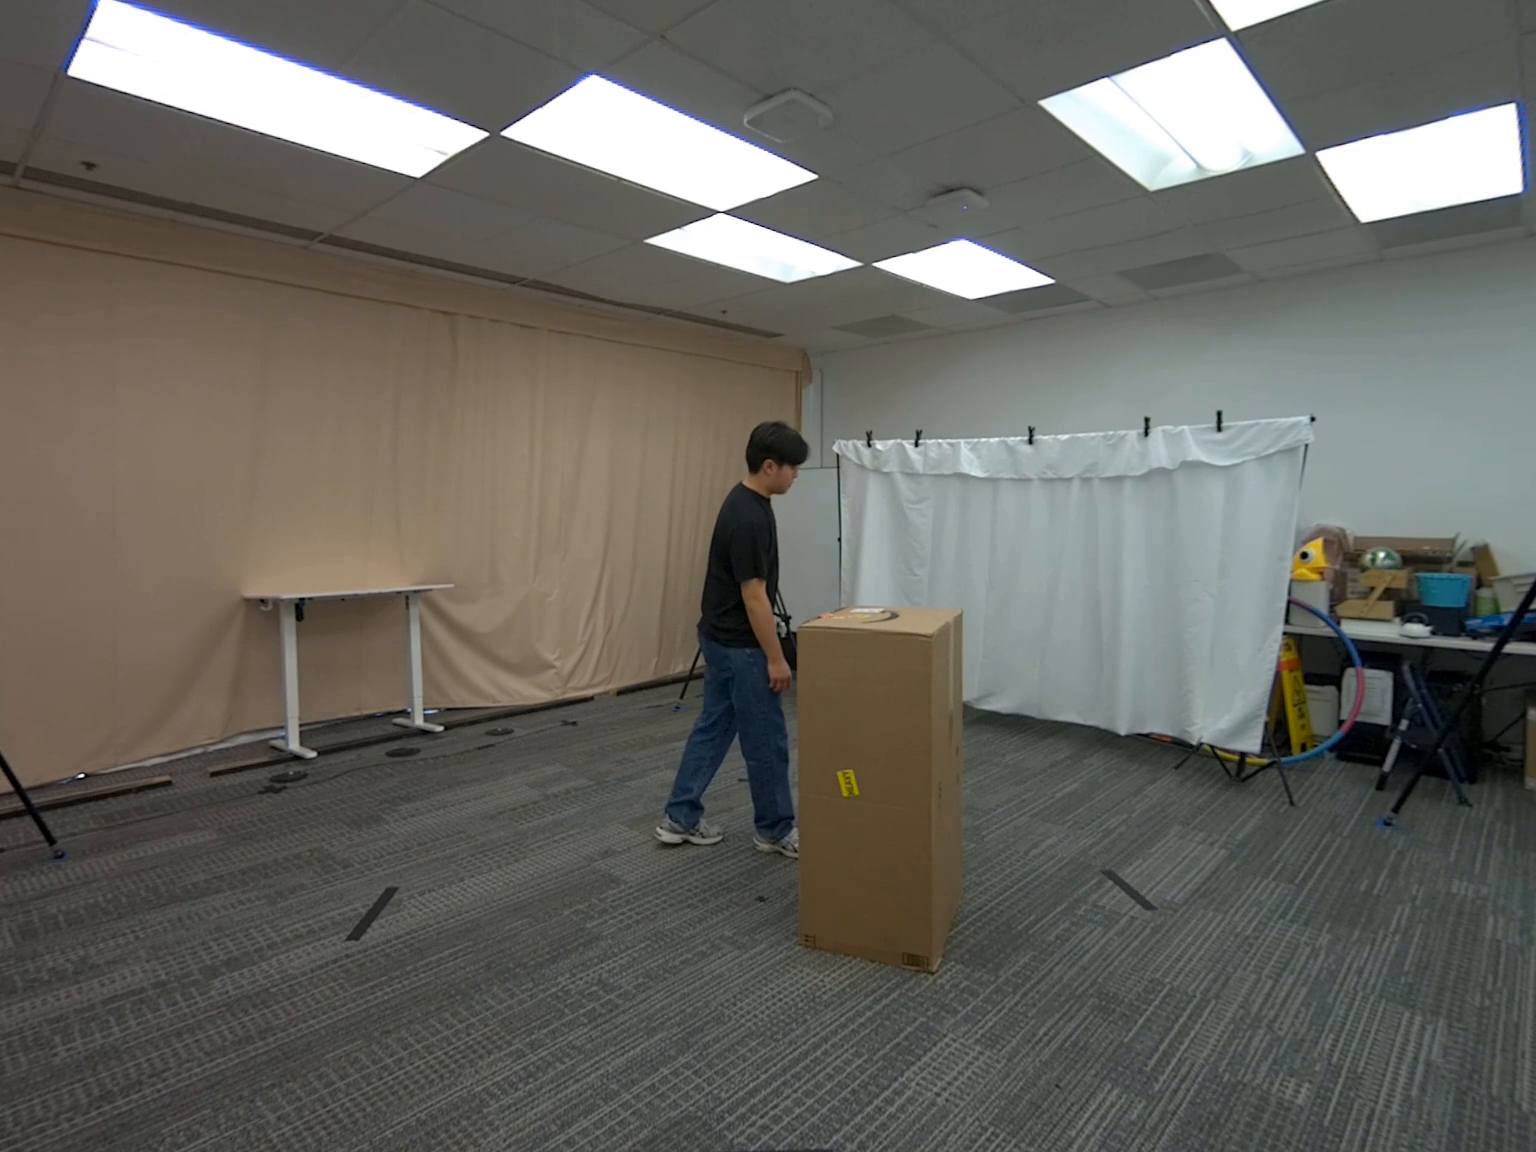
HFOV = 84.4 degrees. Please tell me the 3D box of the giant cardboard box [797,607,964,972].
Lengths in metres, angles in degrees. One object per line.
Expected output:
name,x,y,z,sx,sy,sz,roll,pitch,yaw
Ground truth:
giant cardboard box,0.396,0.643,2.816,0.458,1.025,0.570,0,3,24
